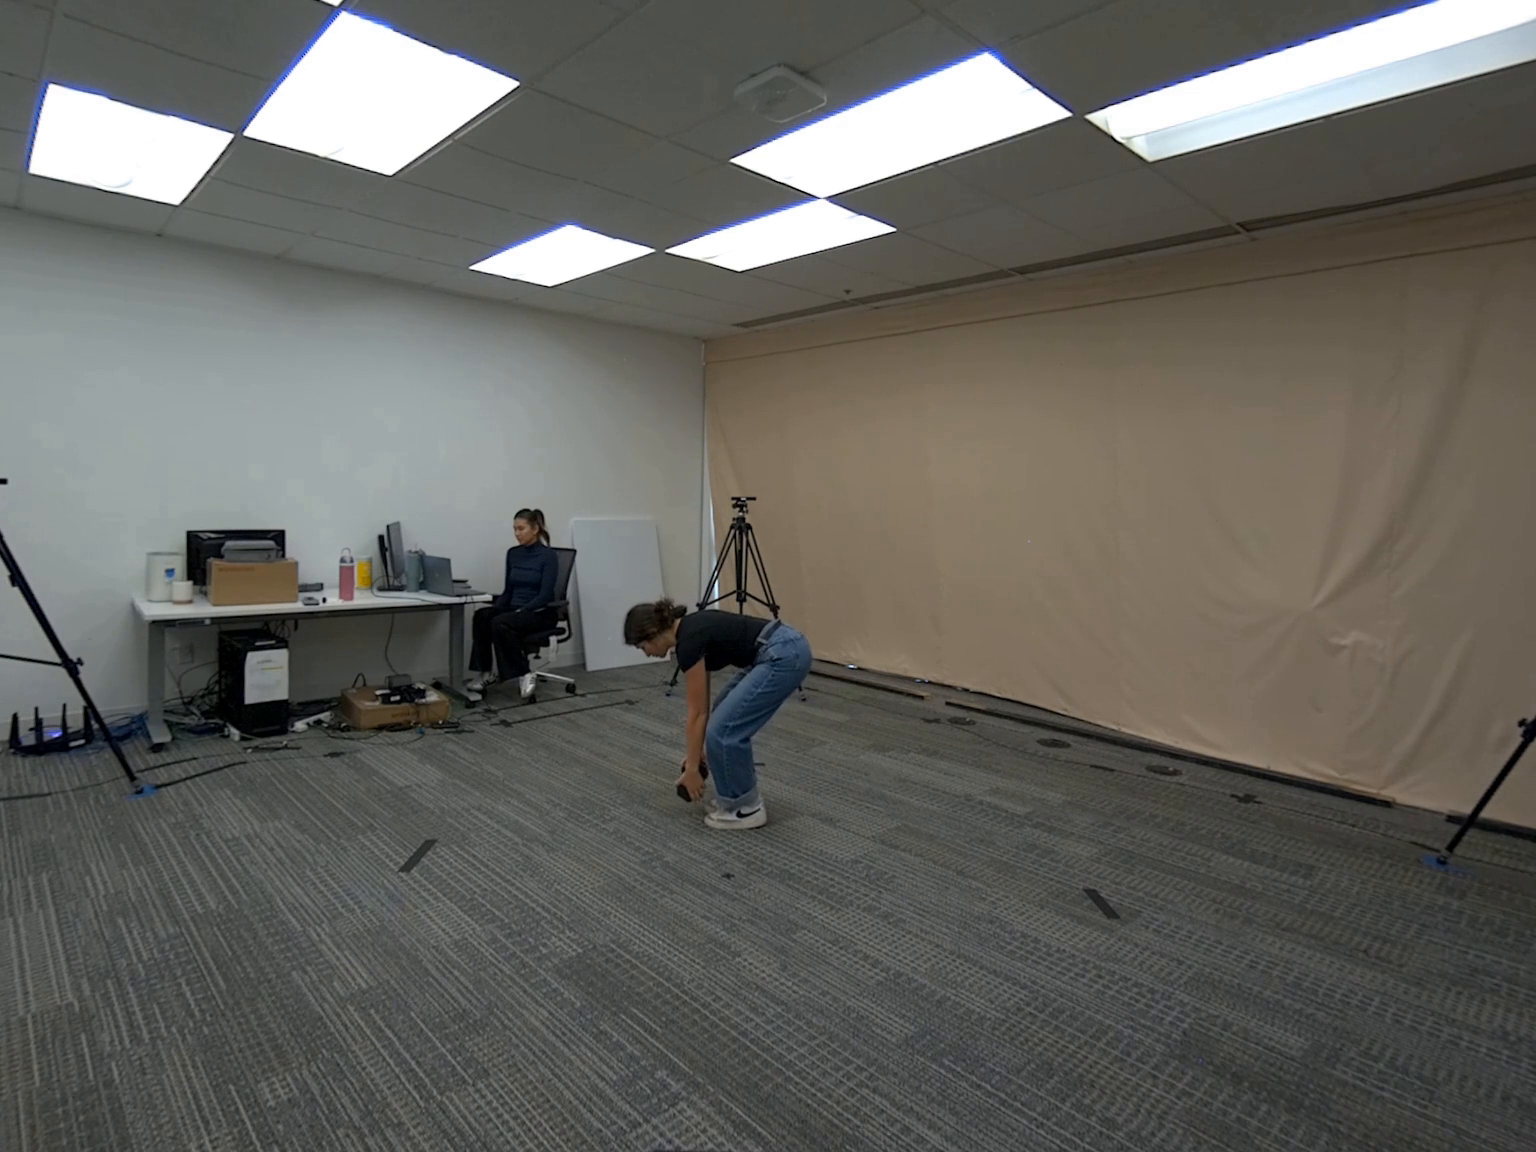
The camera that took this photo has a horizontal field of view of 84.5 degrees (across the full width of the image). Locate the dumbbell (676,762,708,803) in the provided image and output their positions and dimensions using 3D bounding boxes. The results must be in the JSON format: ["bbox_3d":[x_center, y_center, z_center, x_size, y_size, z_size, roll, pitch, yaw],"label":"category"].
[{"bbox_3d":[-0.313,0.885,3.666,0.108,0.123,0.295,10,4,-4],"label":"dumbbell"}]
